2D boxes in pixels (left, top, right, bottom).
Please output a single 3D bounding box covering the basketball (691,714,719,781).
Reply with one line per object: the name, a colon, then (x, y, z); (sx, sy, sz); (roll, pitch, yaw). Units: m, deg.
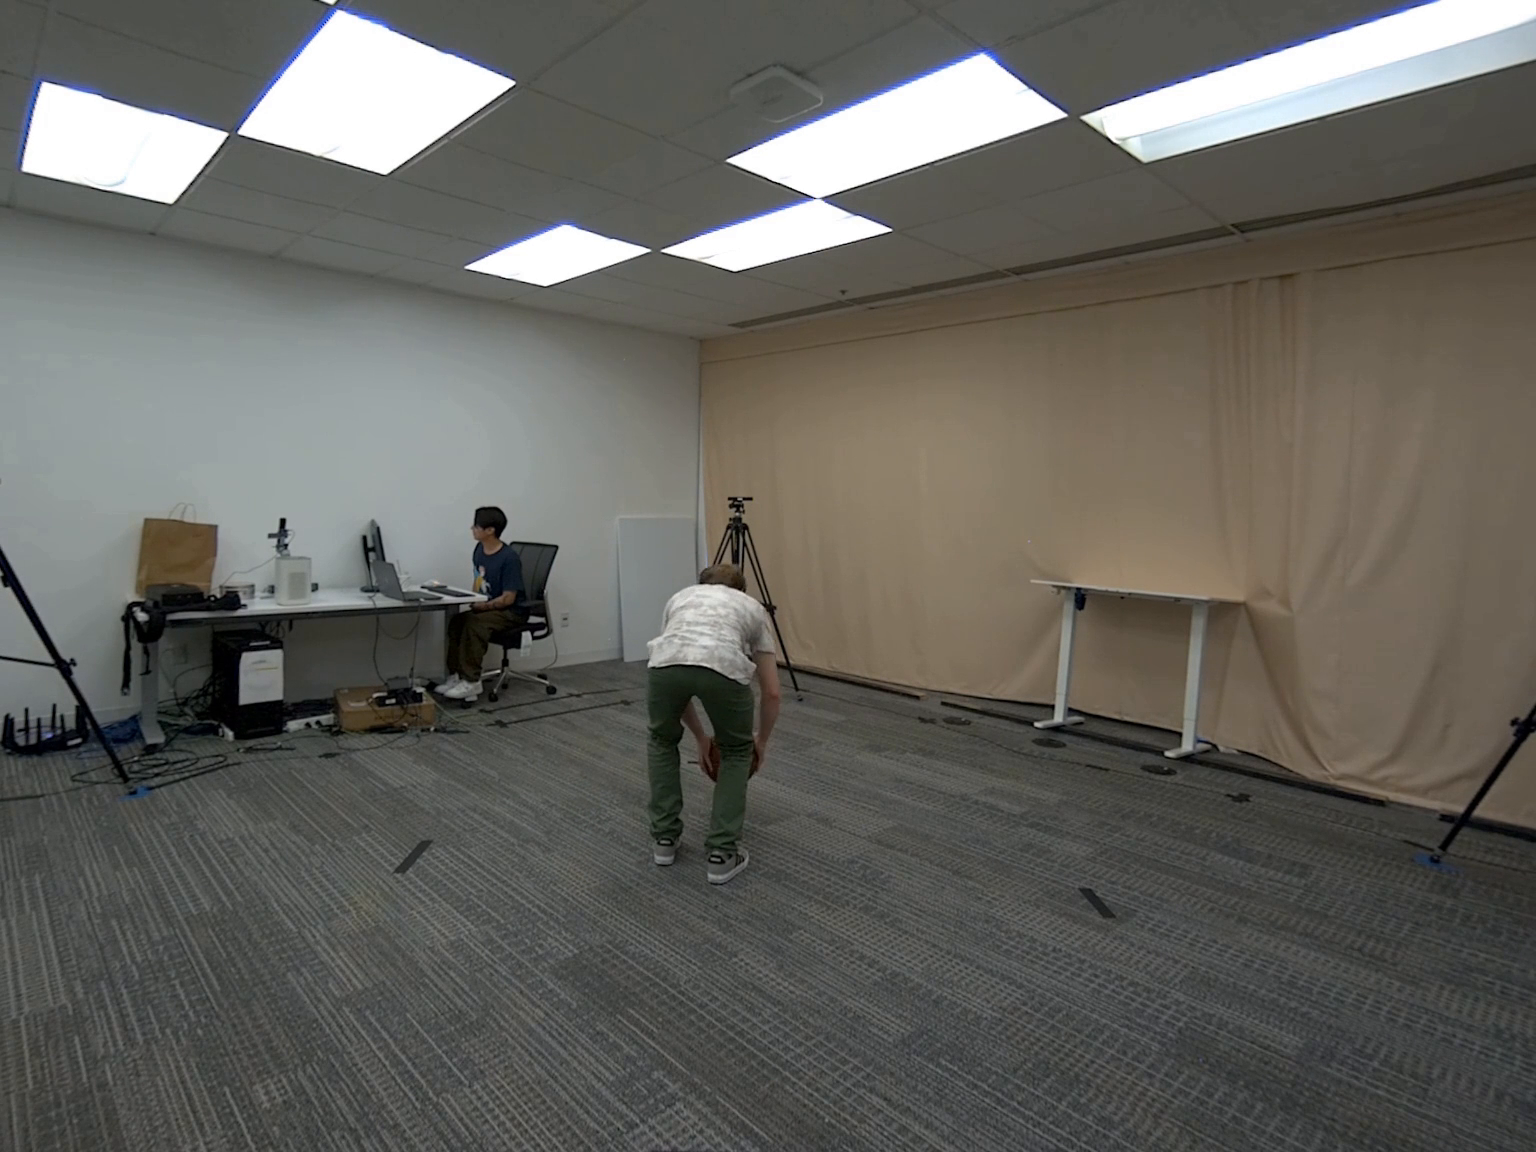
basketball: (-0.165, 0.770, 3.576); (0.236, 0.235, 0.237); (1, 4, -1)
